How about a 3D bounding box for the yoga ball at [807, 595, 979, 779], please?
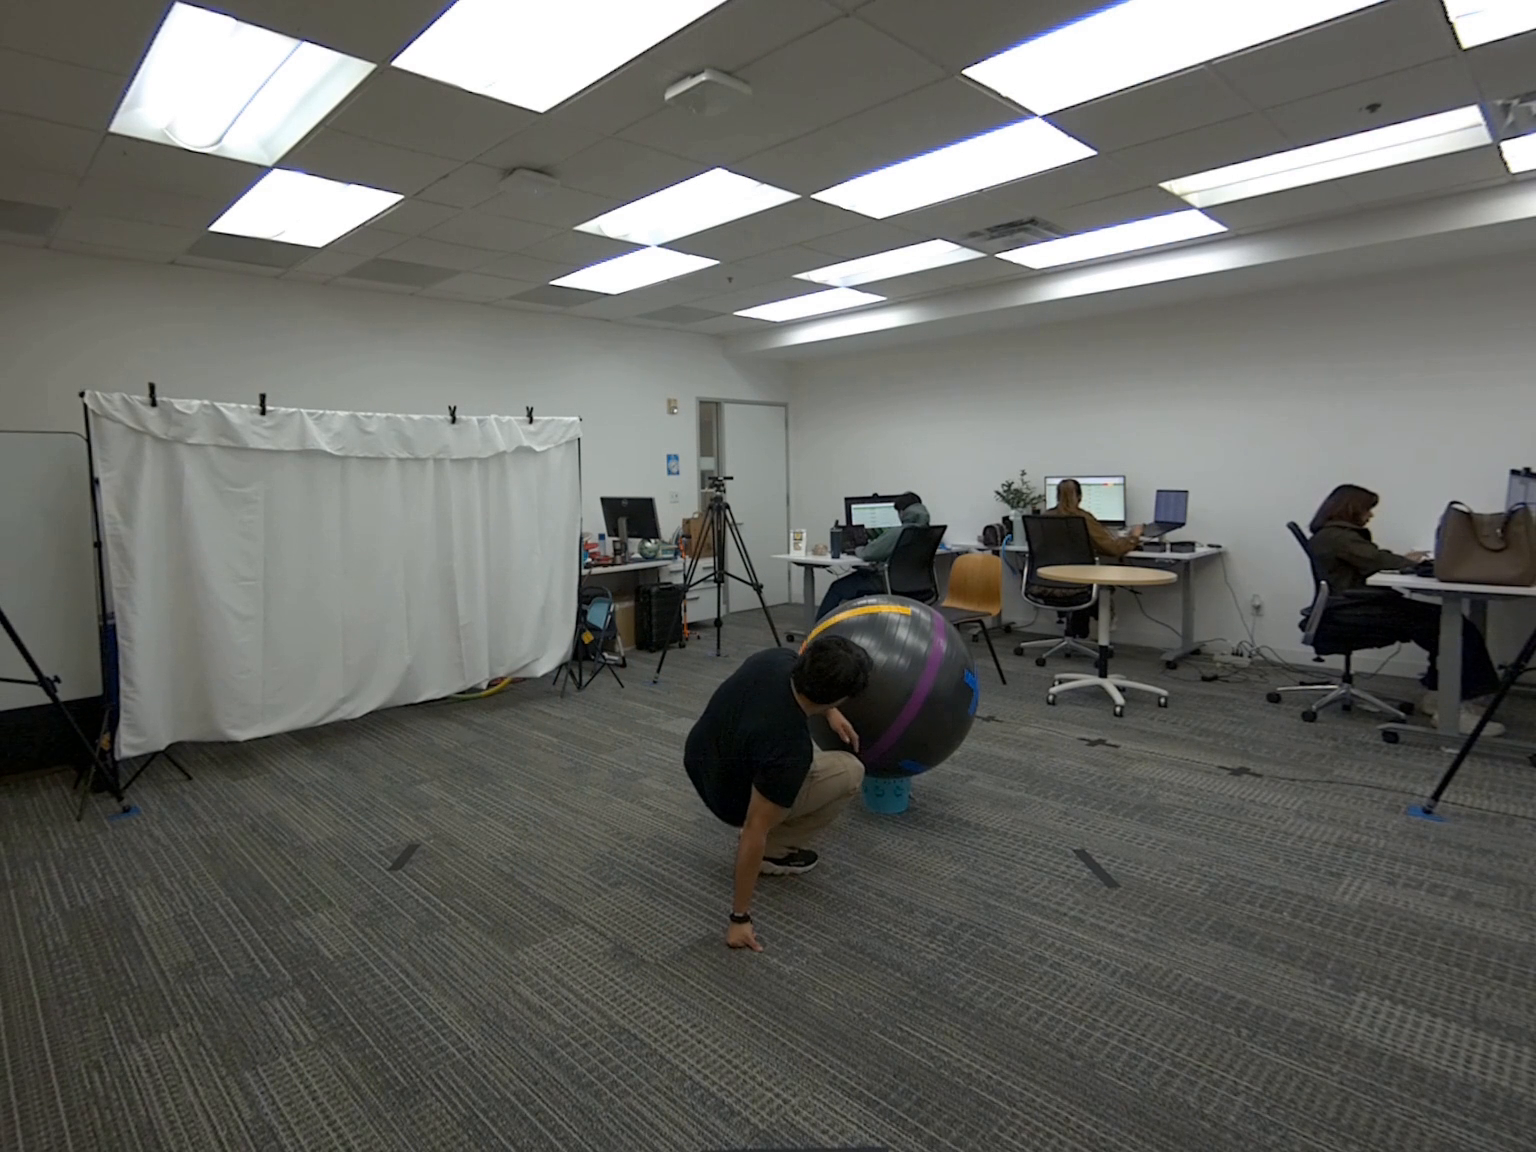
[{"bbox_3d":[0.488,0.464,3.587,0.757,0.755,0.762,-1,5,-2],"label":"yoga ball"}]
